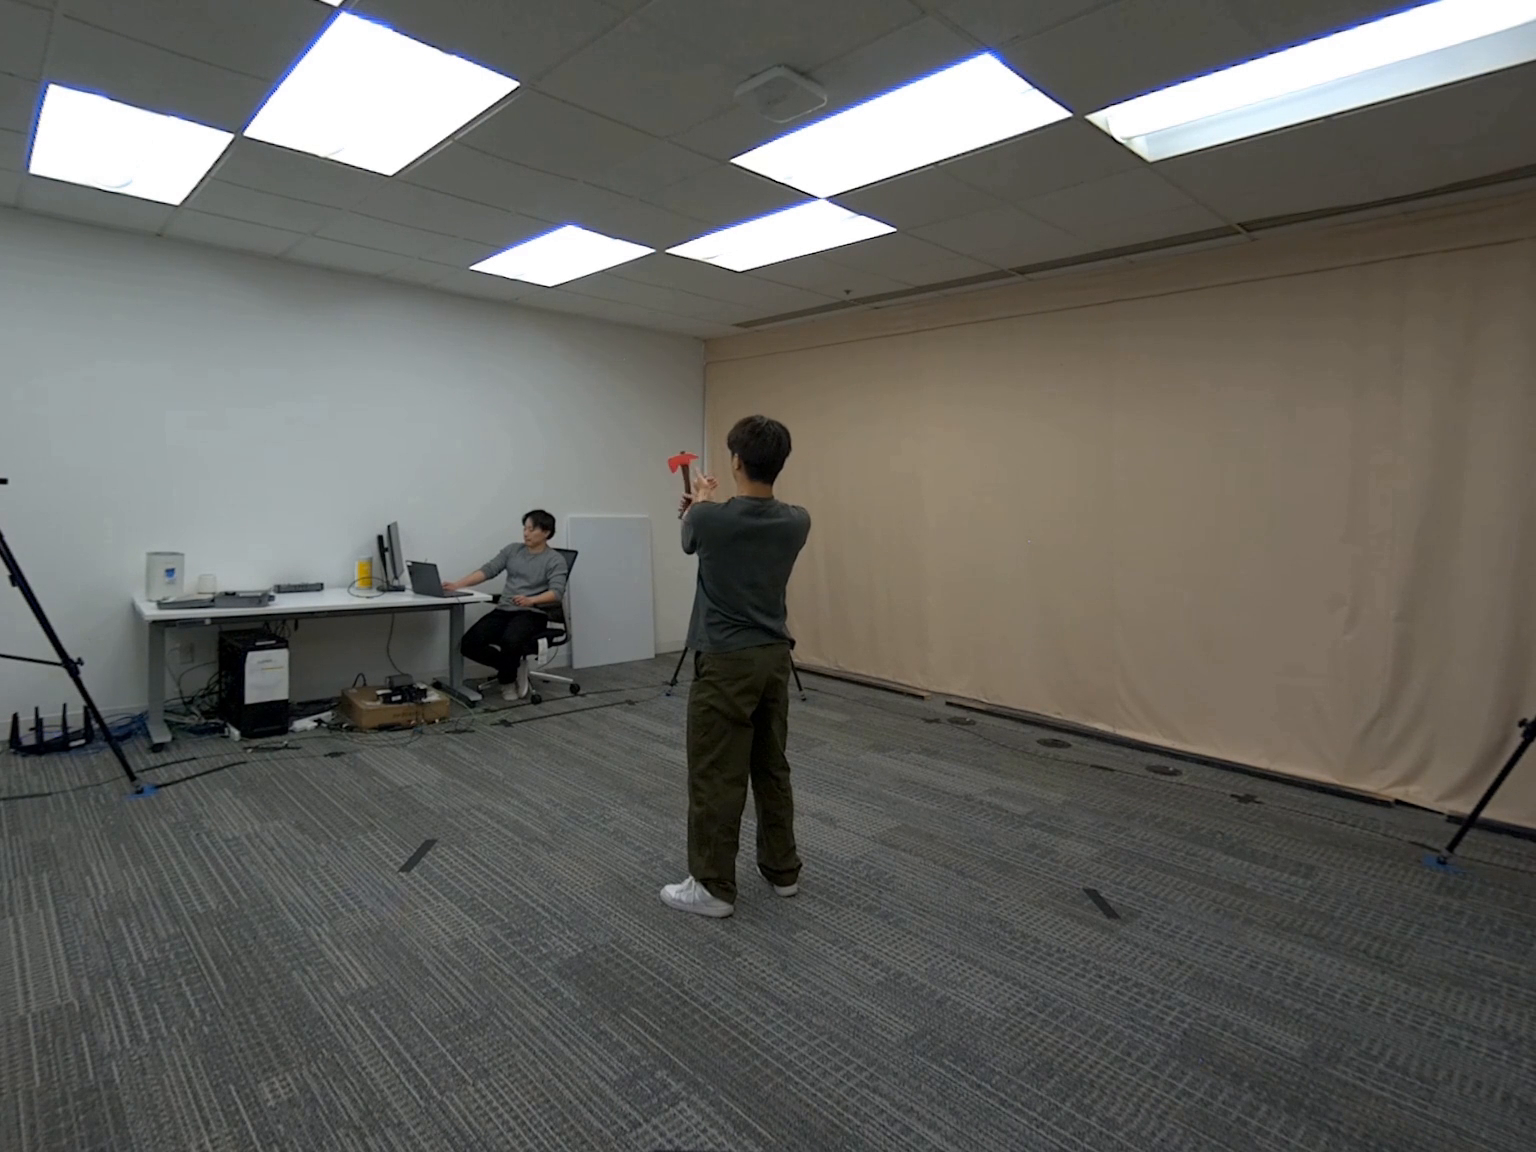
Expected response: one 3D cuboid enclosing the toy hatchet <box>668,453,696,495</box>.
[{"bbox_3d":[-0.350,-0.355,3.312,0.128,0.270,0.030,10,-3,-23],"label":"toy hatchet"}]
